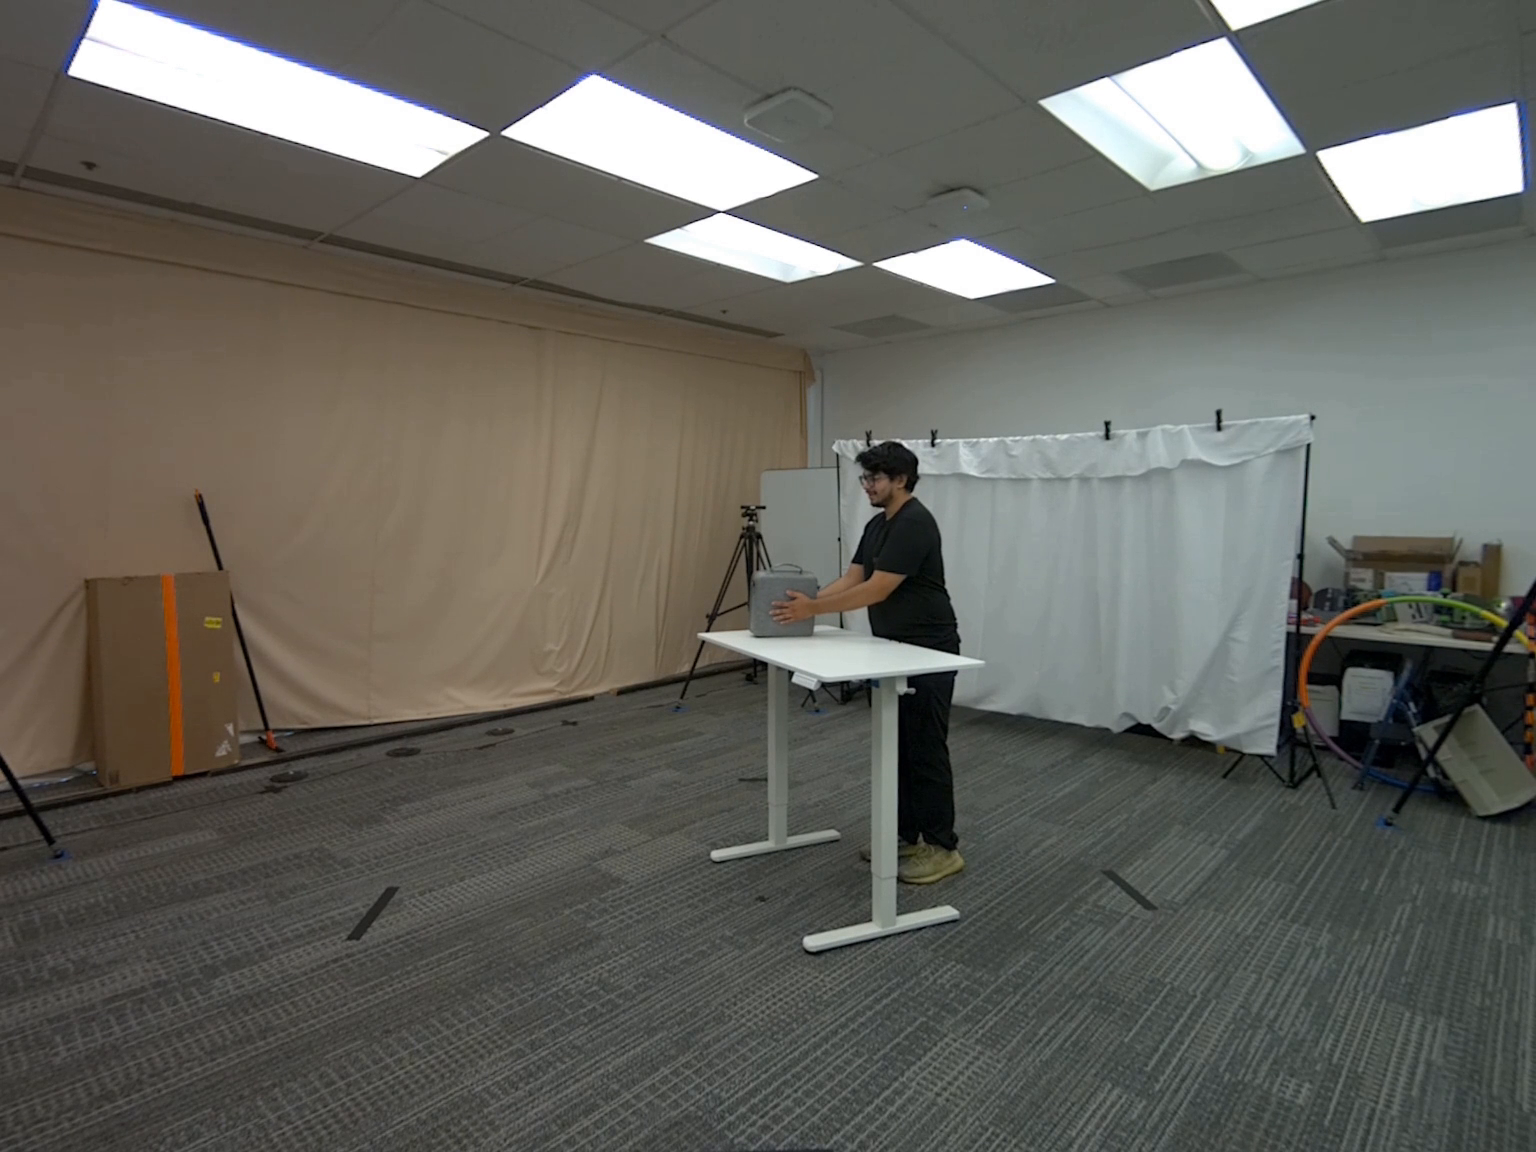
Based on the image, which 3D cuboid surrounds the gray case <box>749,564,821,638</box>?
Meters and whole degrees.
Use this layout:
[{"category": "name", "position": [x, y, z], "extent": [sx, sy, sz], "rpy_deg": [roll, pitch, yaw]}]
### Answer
[{"category": "gray case", "position": [0.068, 0.108, 3.295], "extent": [0.256, 0.259, 0.105], "rpy_deg": [1, 9, -4]}]
